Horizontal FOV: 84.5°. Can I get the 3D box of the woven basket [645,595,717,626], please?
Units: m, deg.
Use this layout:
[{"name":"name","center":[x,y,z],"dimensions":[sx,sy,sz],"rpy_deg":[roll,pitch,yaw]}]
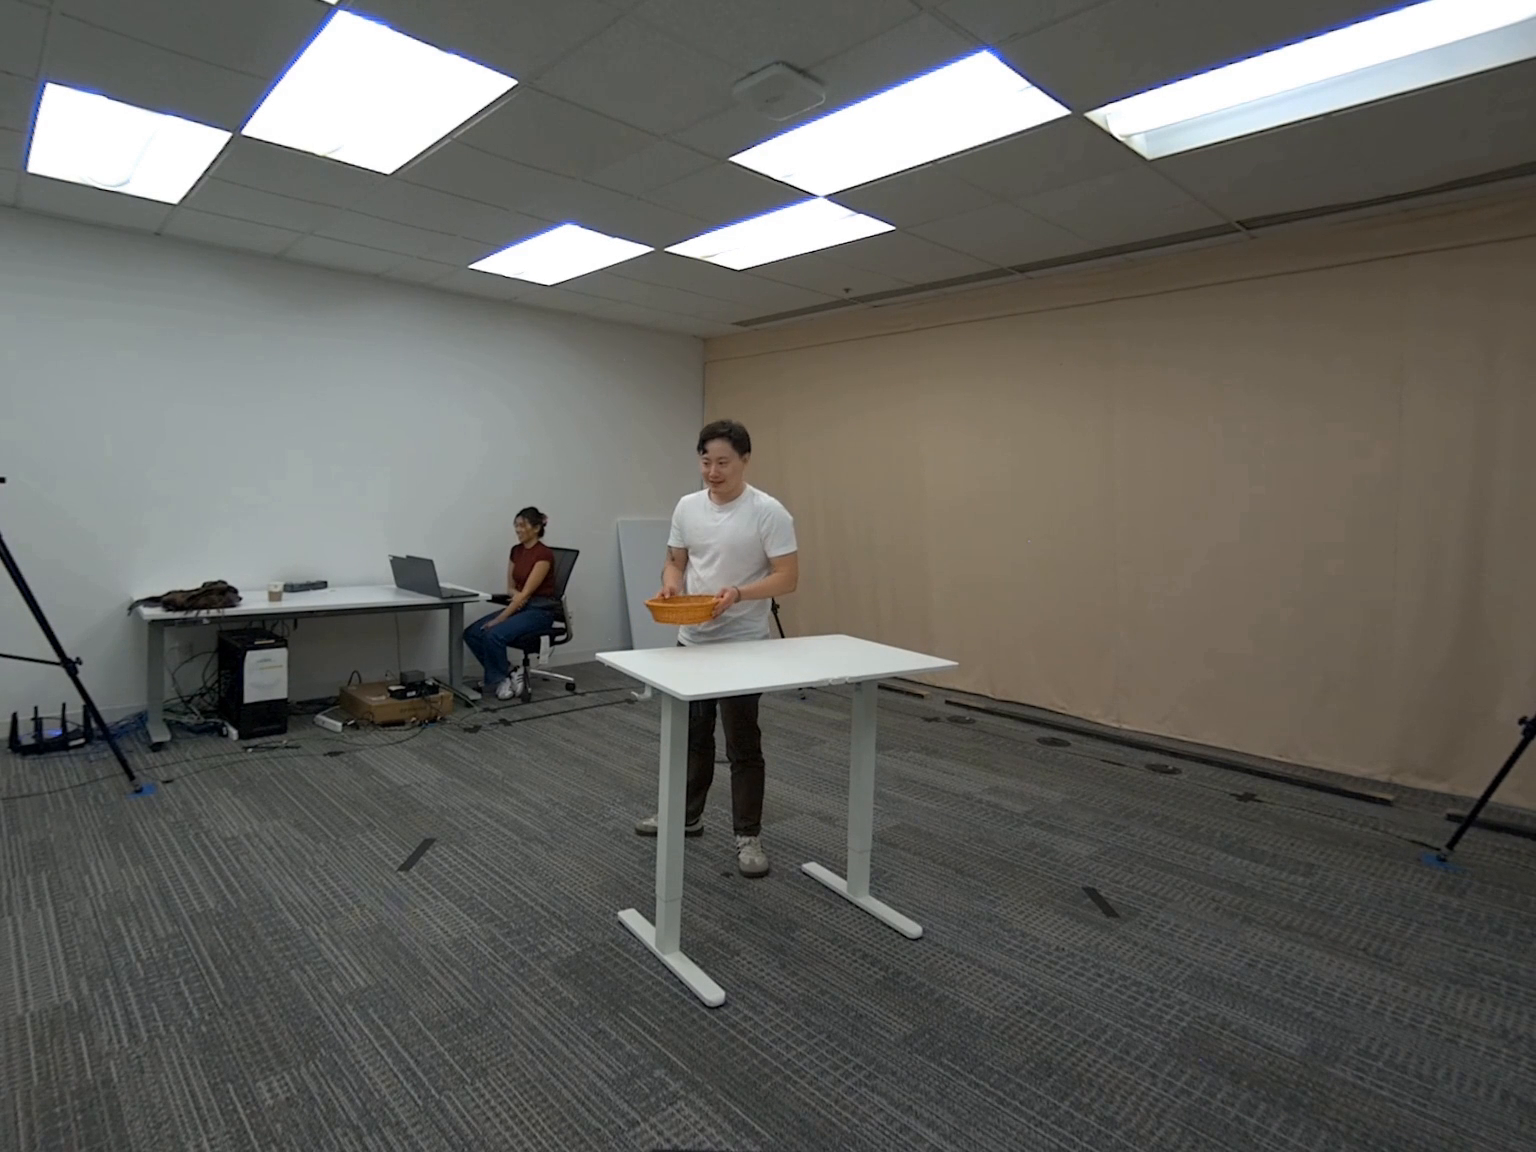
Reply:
[{"name":"woven basket","center":[-0.306,0.121,2.936],"dimensions":[0.256,0.073,0.346],"rpy_deg":[1,5,19]}]
